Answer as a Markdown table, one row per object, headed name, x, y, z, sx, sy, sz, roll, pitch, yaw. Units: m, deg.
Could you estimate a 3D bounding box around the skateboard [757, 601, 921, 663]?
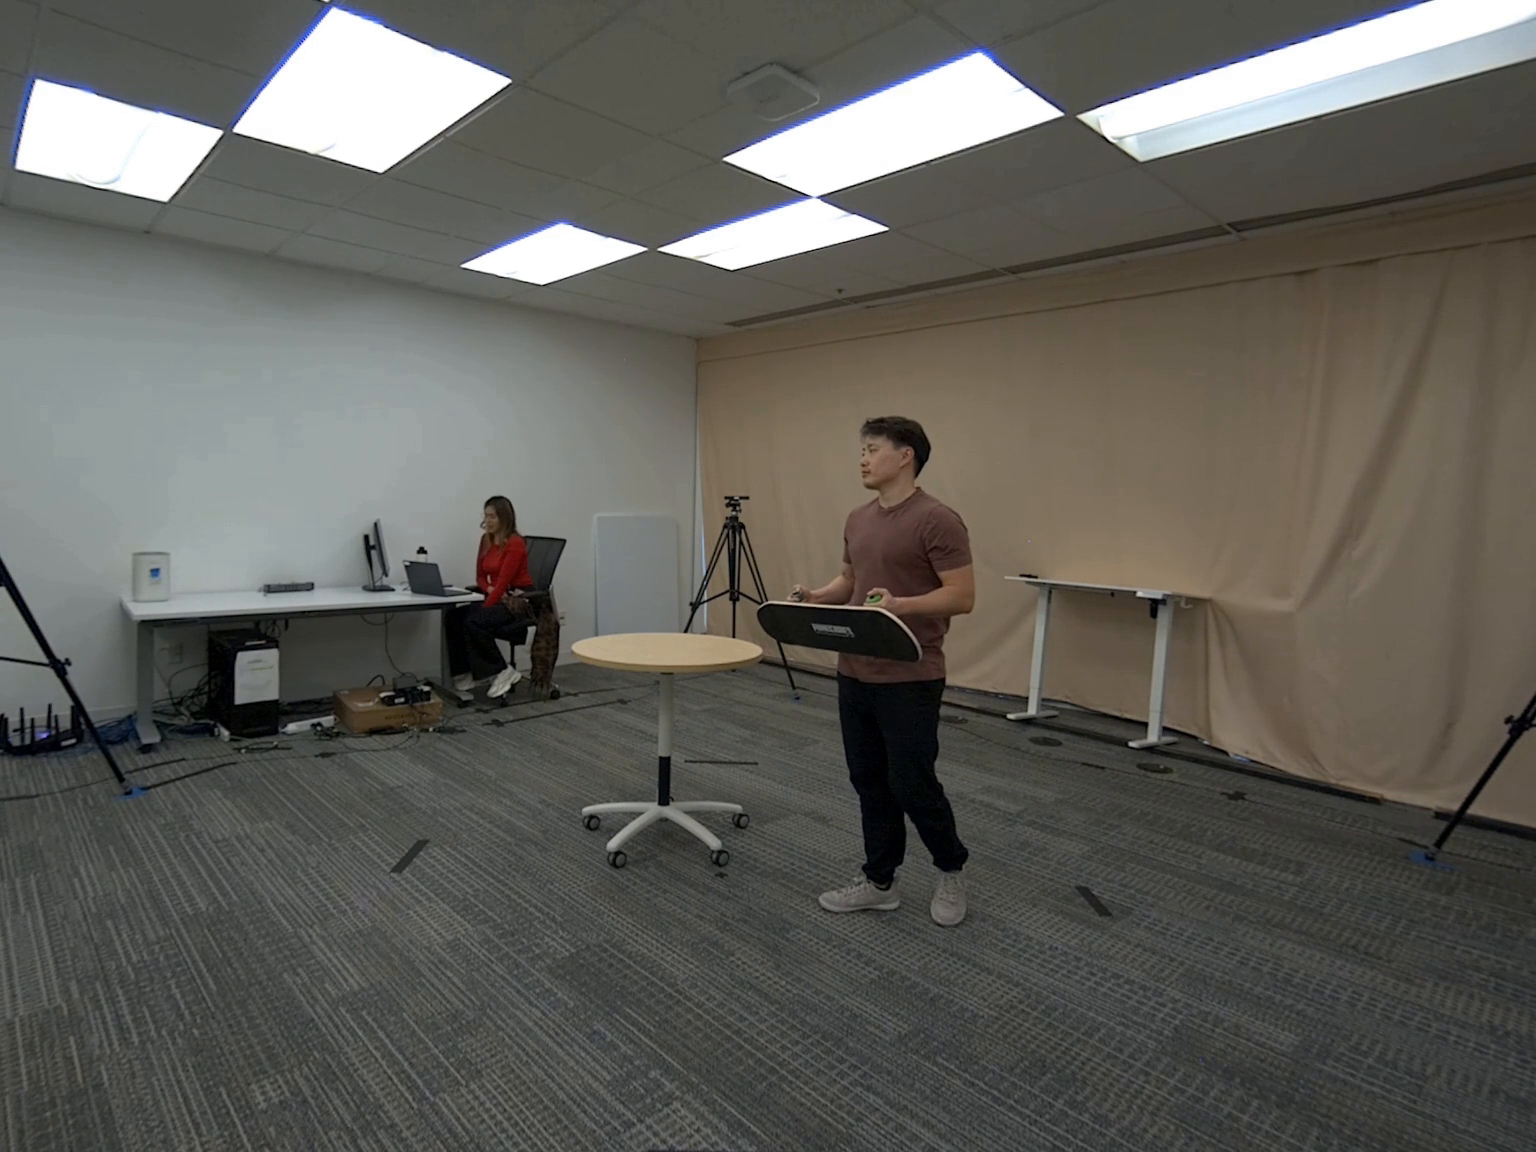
| name | x | y | z | sx | sy | sz | roll | pitch | yaw |
| --- | --- | --- | --- | --- | --- | --- | --- | --- | --- |
| skateboard | 0.216 | 0.152 | 2.694 | 0.110 | 0.190 | 0.801 | -42 | 20 | -24 |
